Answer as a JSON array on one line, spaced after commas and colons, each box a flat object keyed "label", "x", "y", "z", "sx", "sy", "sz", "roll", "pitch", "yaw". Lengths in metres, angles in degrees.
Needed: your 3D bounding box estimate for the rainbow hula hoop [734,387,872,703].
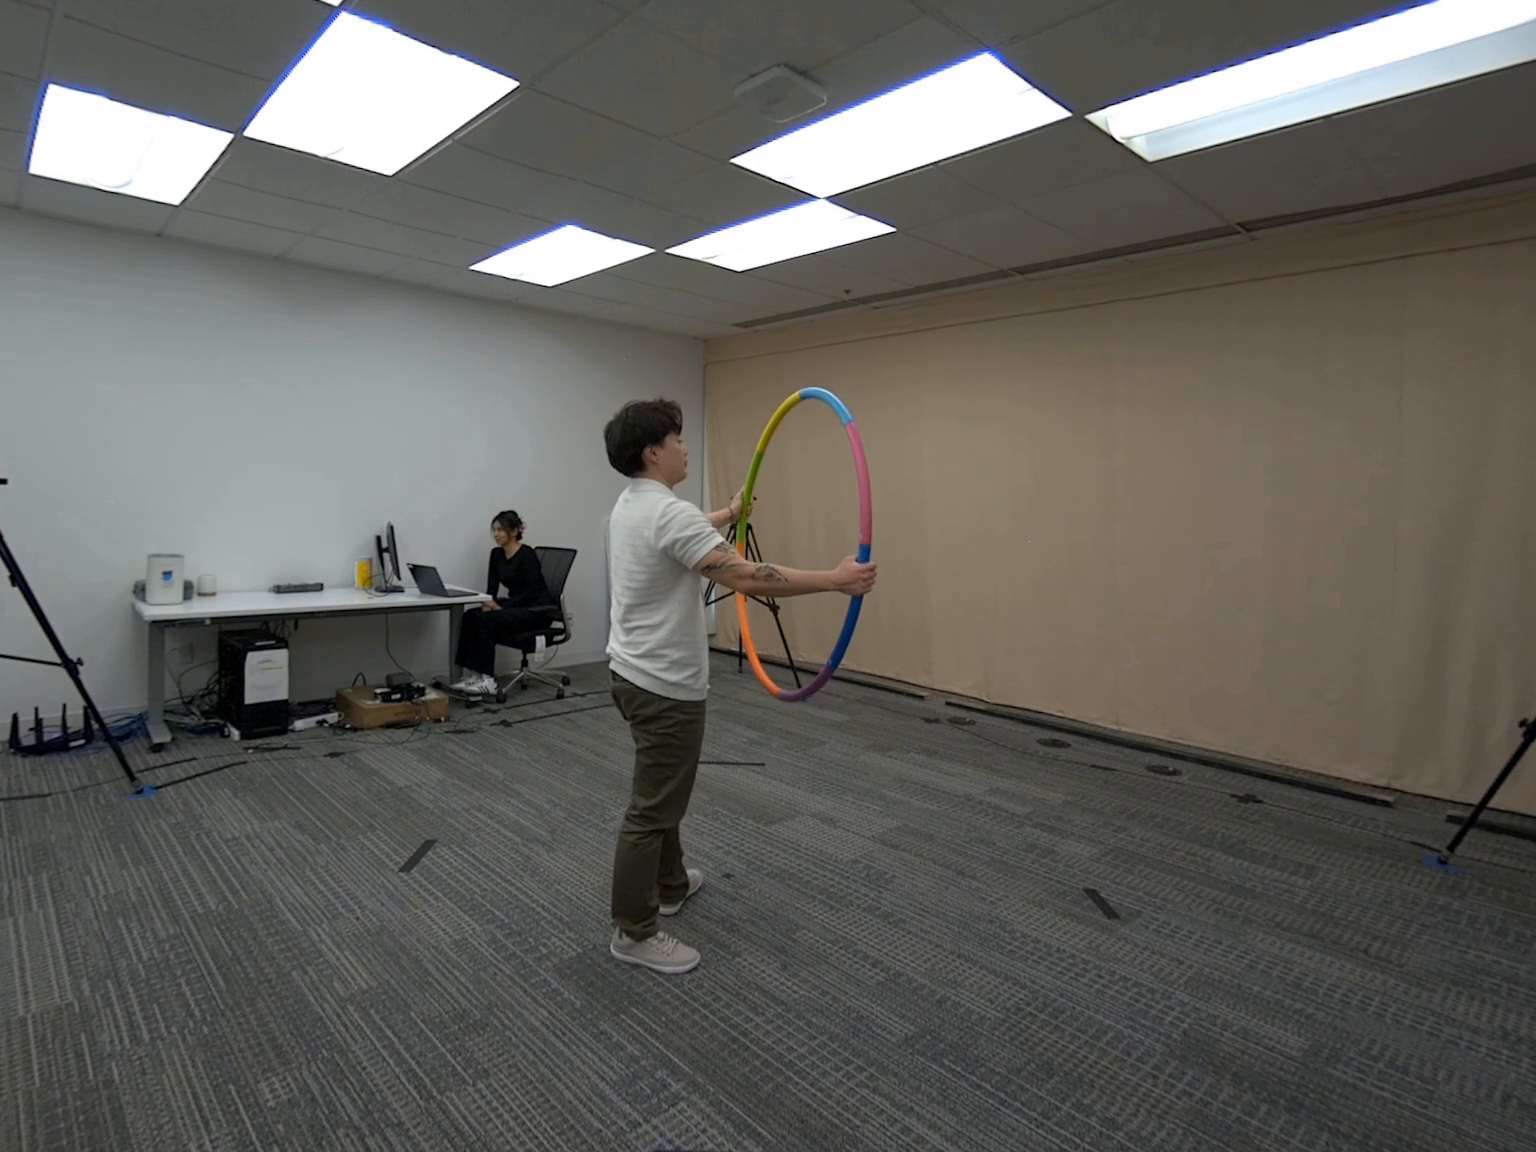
[{"label": "rainbow hula hoop", "x": 0.072, "y": -0.107, "z": 2.685, "sx": 0.035, "sy": 0.977, "sz": 0.996, "roll": 4, "pitch": 3, "yaw": -22}]
